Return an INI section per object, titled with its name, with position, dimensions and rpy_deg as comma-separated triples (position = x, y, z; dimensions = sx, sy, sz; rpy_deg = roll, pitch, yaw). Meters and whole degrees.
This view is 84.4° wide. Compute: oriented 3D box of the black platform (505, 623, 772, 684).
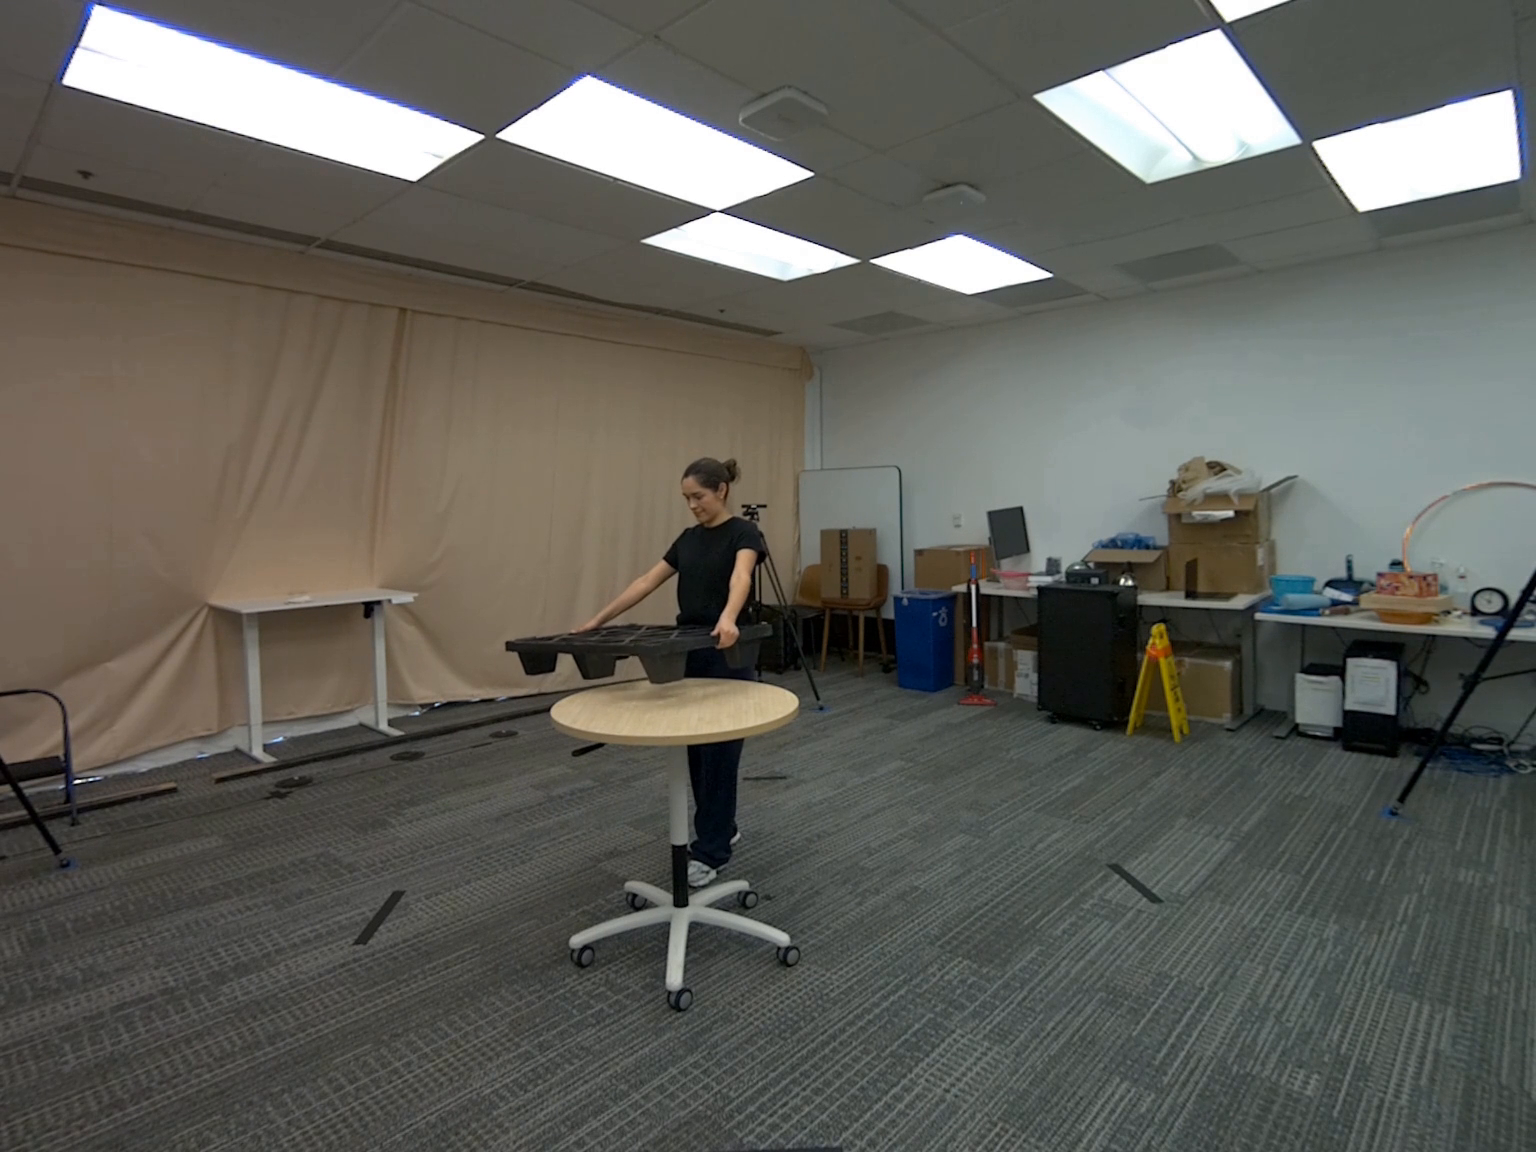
[black platform]
position = -0.464, 0.270, 3.046
dimensions = 0.830, 0.143, 0.587
rpy_deg = -3, 1, 40
